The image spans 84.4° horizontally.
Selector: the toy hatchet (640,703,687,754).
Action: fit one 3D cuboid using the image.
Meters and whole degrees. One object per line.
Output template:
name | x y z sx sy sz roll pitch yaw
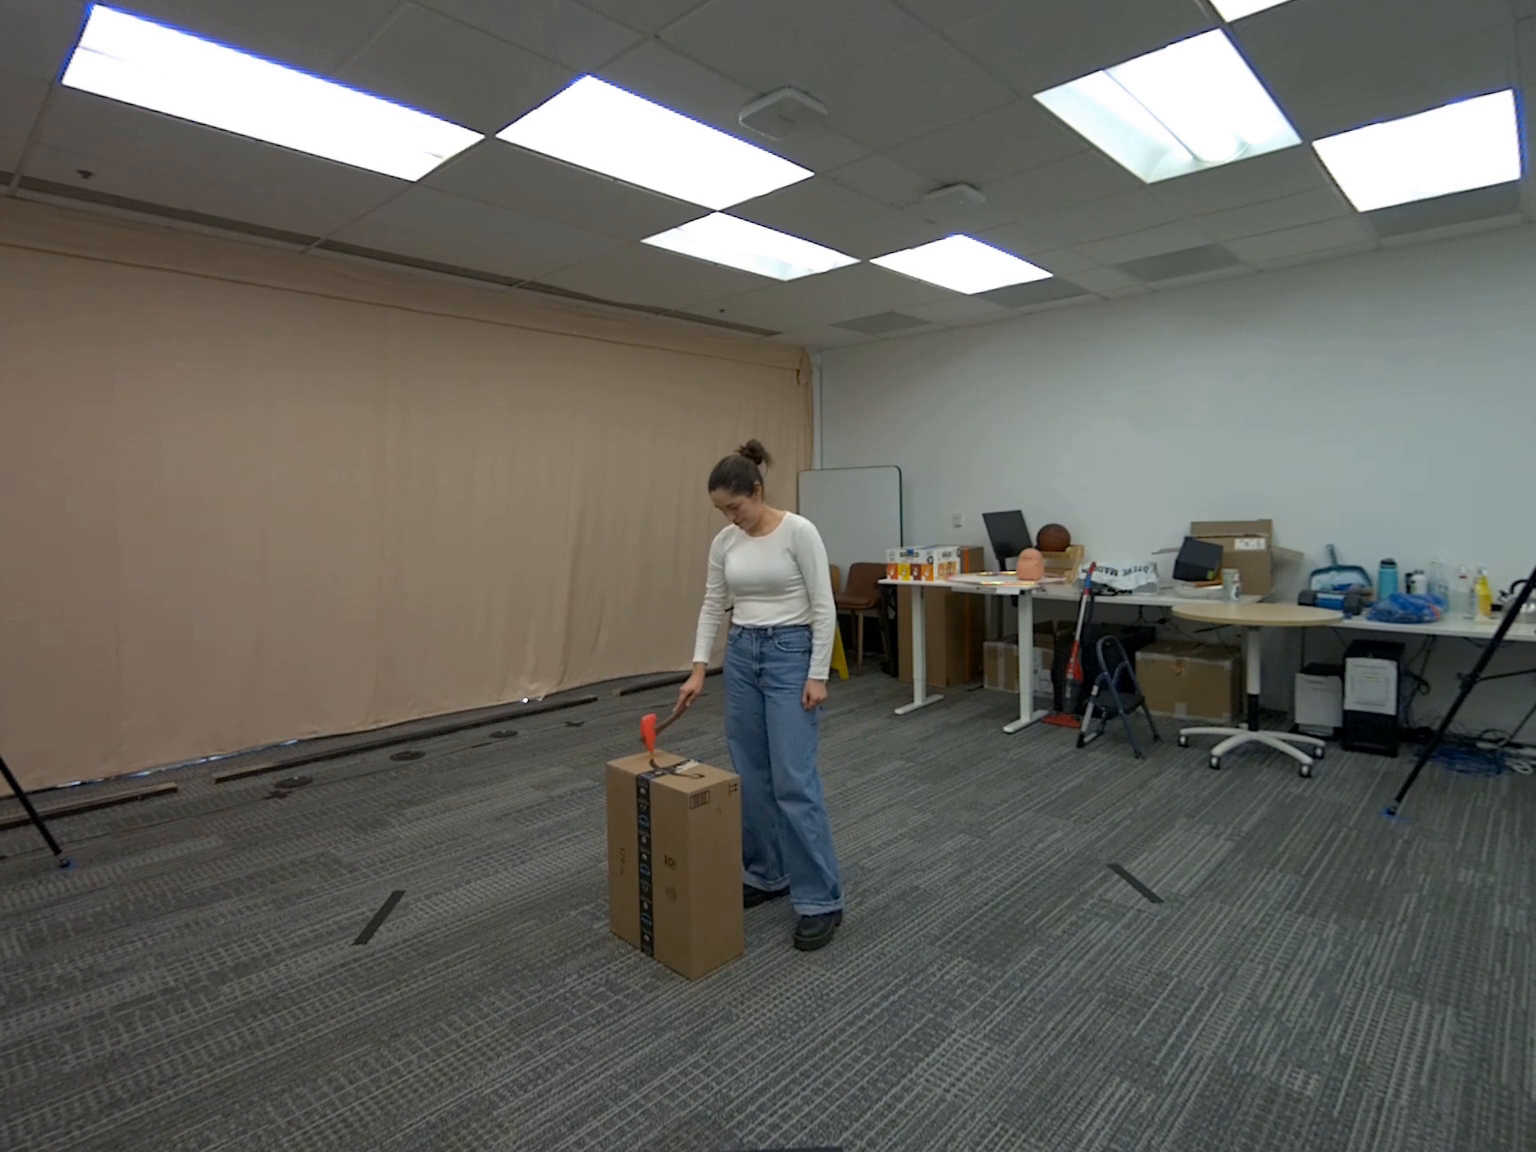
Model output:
toy hatchet | -0.347 0.472 2.859 0.030 0.127 0.268 1 41 42
